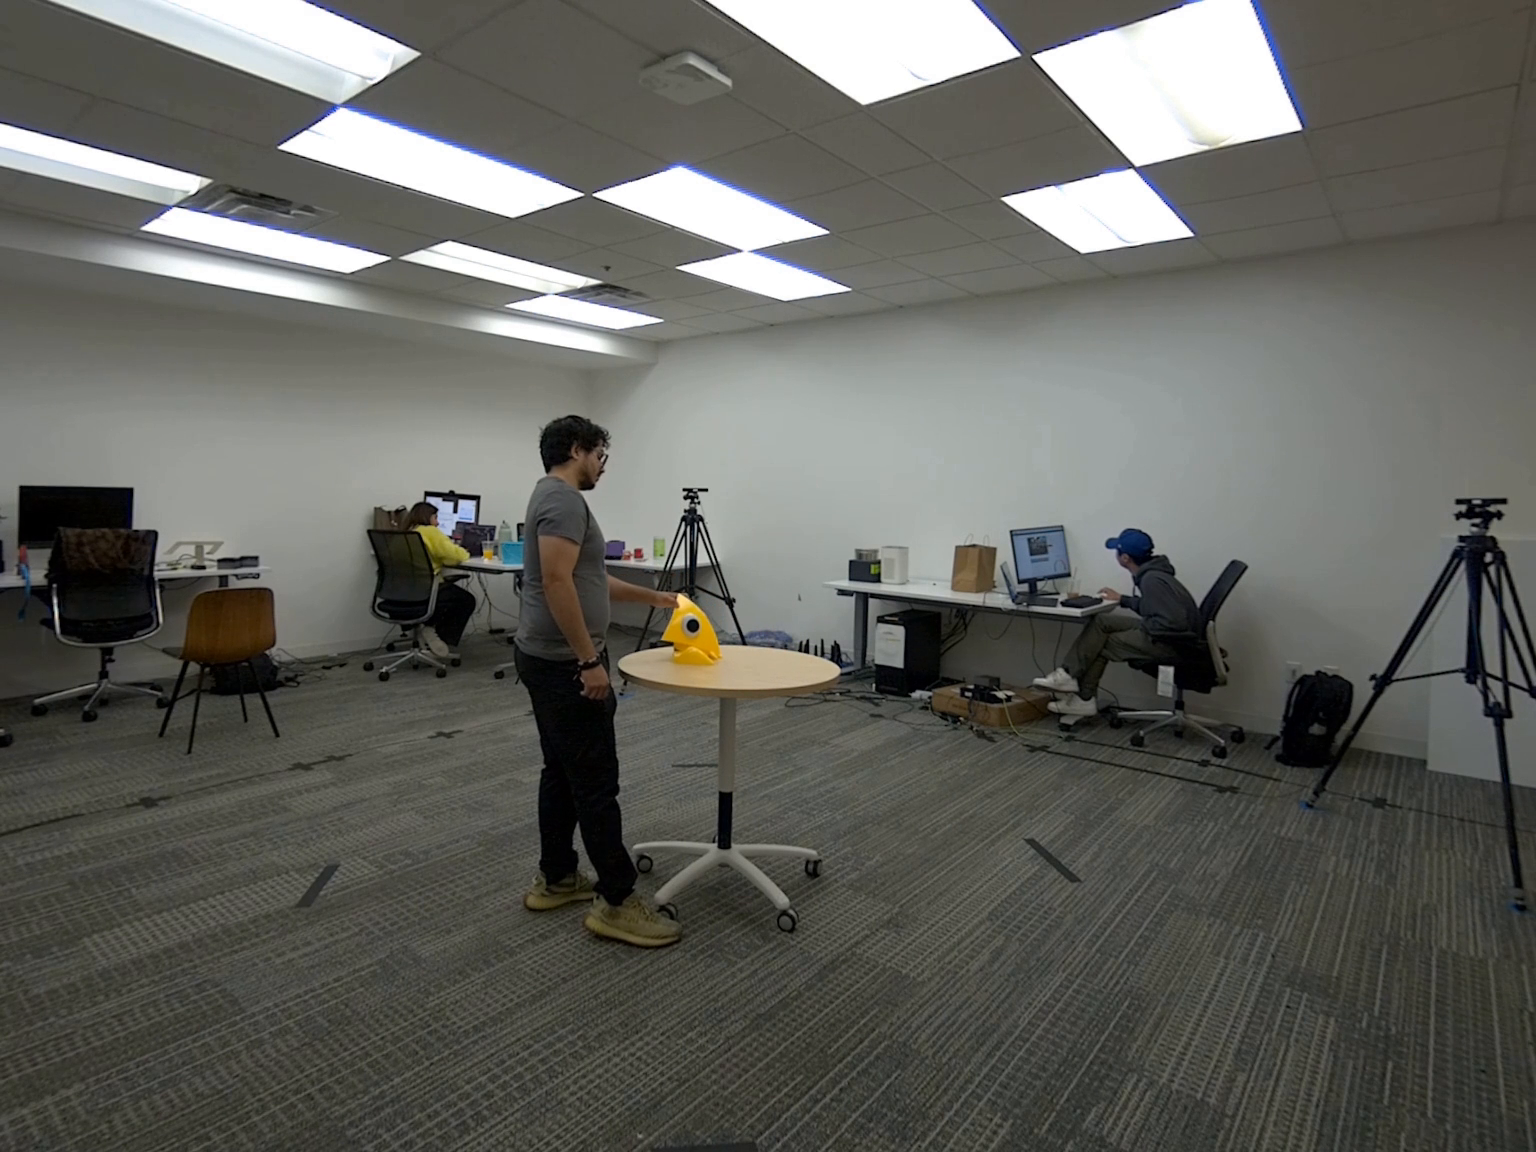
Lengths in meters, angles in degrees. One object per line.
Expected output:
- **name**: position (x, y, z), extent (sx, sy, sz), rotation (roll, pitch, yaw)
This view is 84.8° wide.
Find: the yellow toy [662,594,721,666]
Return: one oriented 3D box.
- **yellow toy**: position (-0.264, 0.182, 3.020), extent (0.195, 0.230, 0.203), rotation (3, 4, 10)
